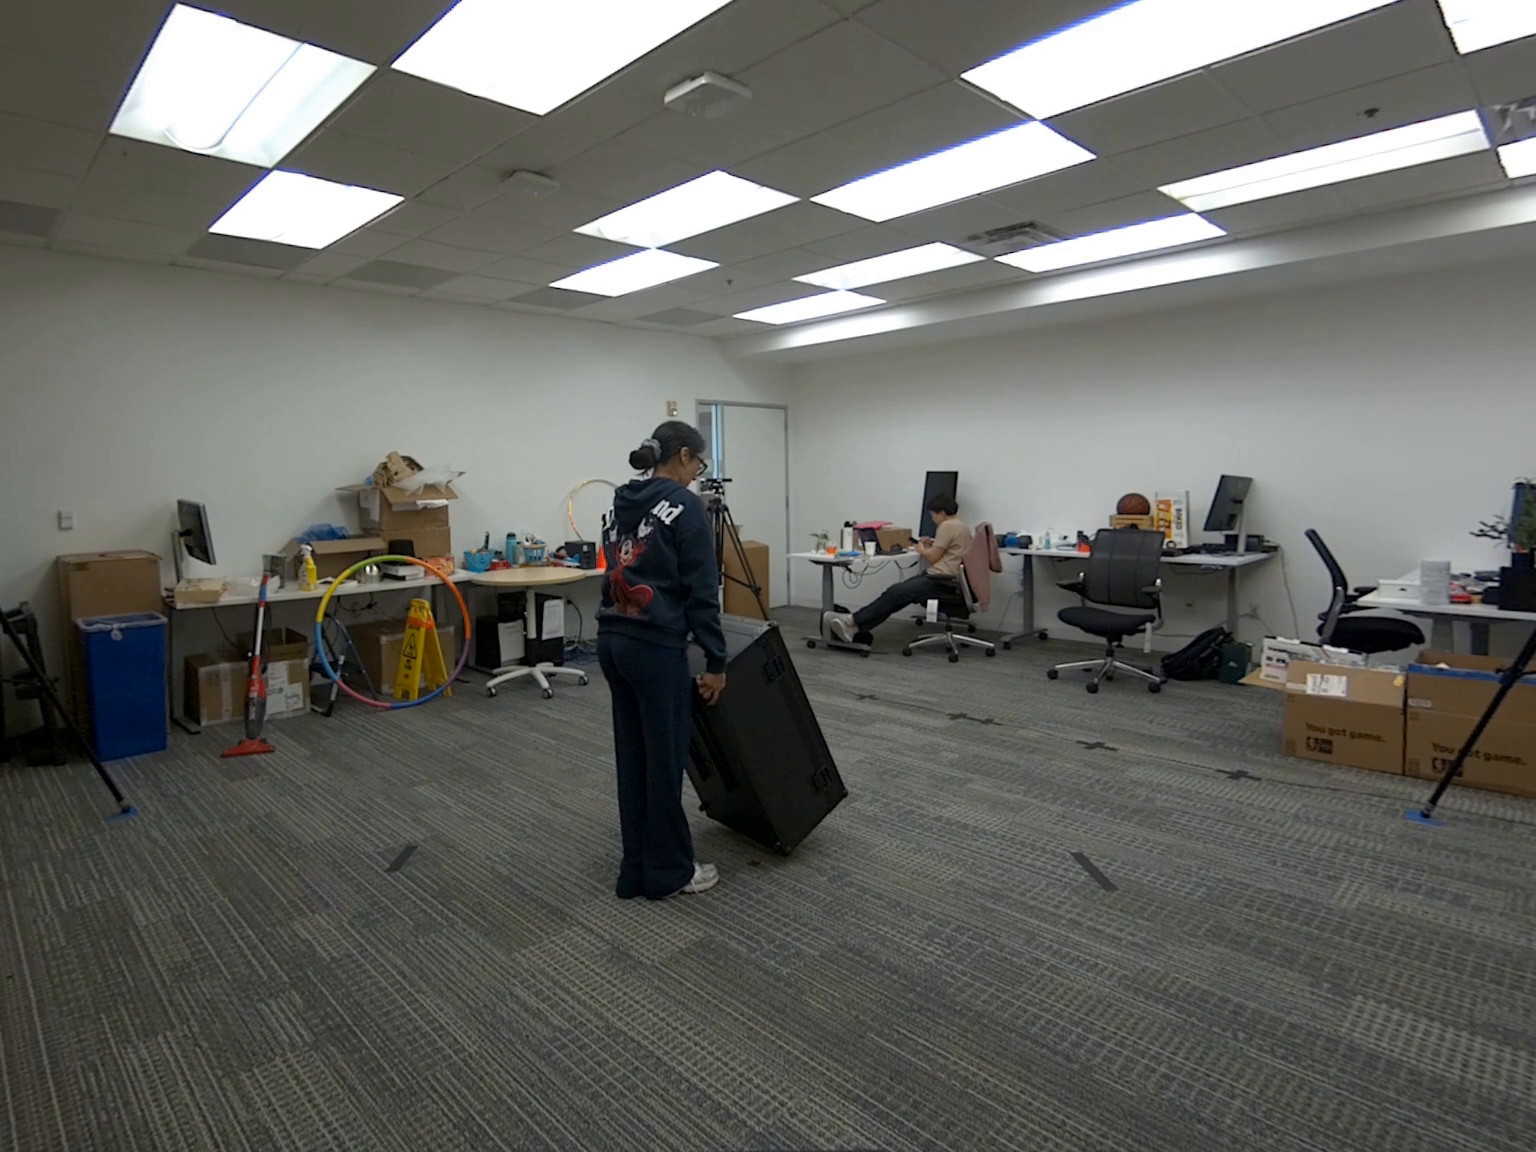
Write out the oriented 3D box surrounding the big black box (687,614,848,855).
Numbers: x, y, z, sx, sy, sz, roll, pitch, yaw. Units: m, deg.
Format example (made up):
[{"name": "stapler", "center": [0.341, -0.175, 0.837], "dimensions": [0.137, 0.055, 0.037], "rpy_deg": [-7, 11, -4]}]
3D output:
[{"name": "big black box", "center": [-0.095, 0.607, 3.222], "dimensions": [0.394, 0.841, 0.537], "rpy_deg": [-37, 25, -32]}]
